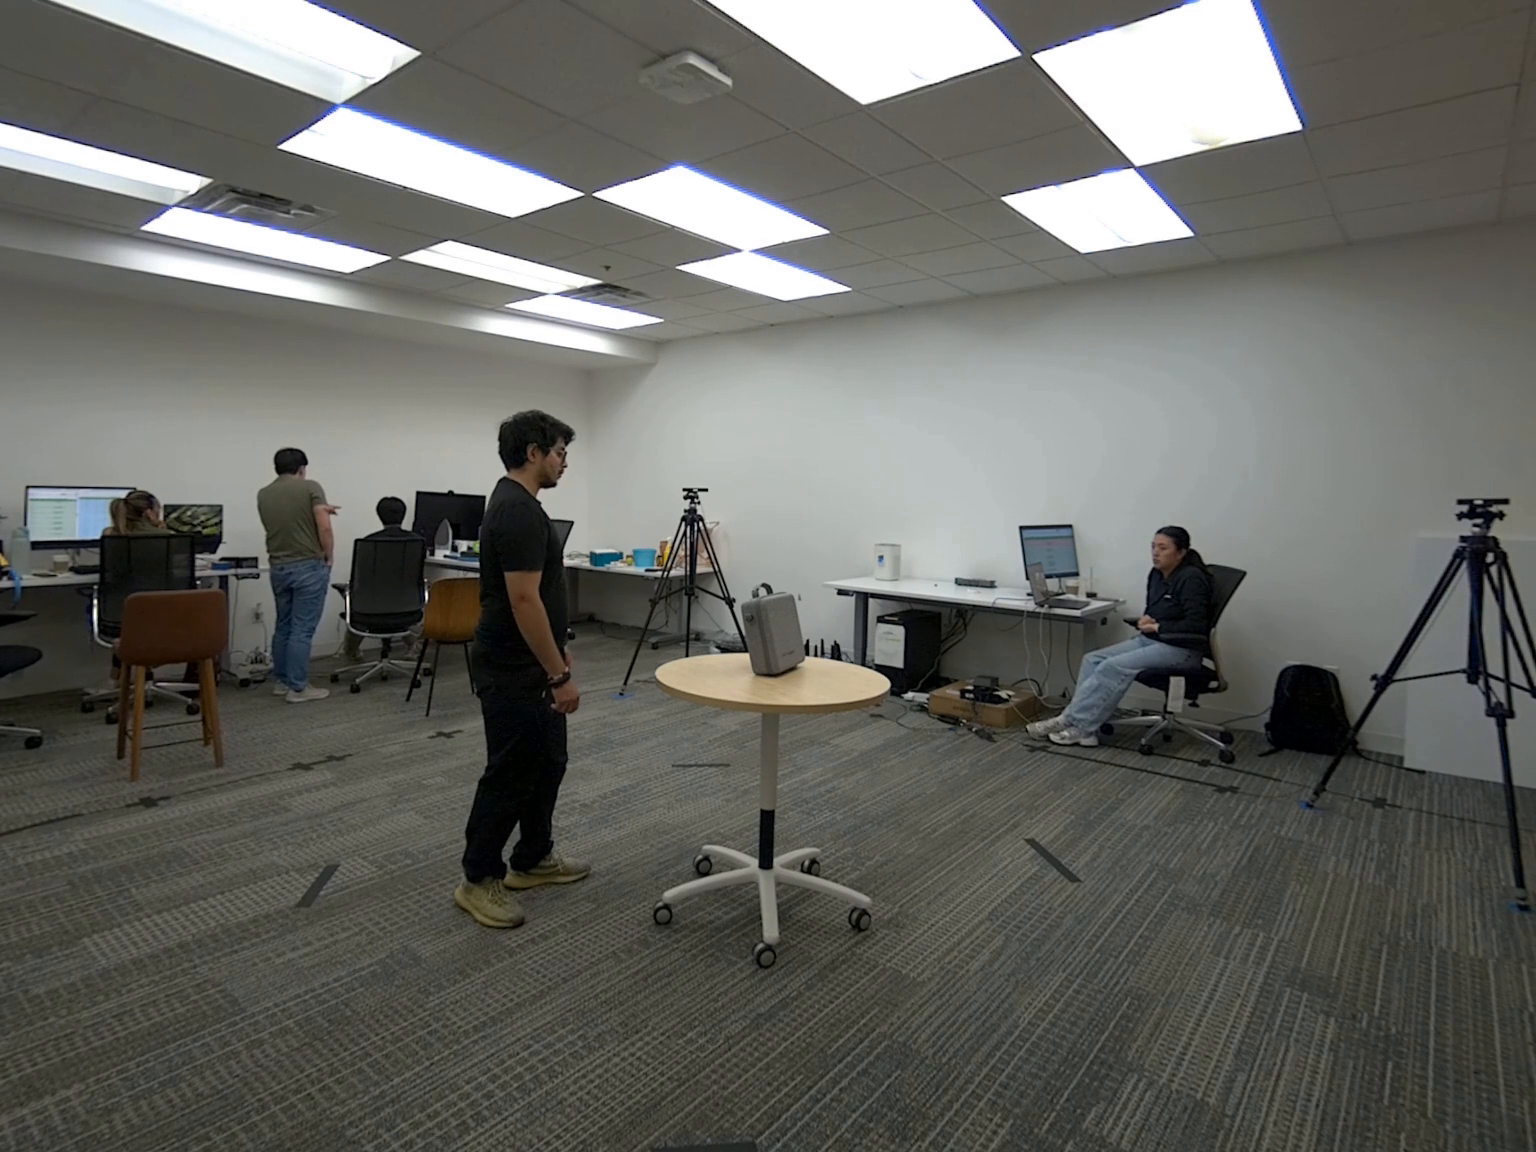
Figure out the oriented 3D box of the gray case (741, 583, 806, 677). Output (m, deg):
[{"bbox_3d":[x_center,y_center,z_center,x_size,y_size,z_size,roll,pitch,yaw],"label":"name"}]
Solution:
[{"bbox_3d":[0.010,0.188,2.875,0.106,0.262,0.251,-12,-3,26],"label":"gray case"}]
